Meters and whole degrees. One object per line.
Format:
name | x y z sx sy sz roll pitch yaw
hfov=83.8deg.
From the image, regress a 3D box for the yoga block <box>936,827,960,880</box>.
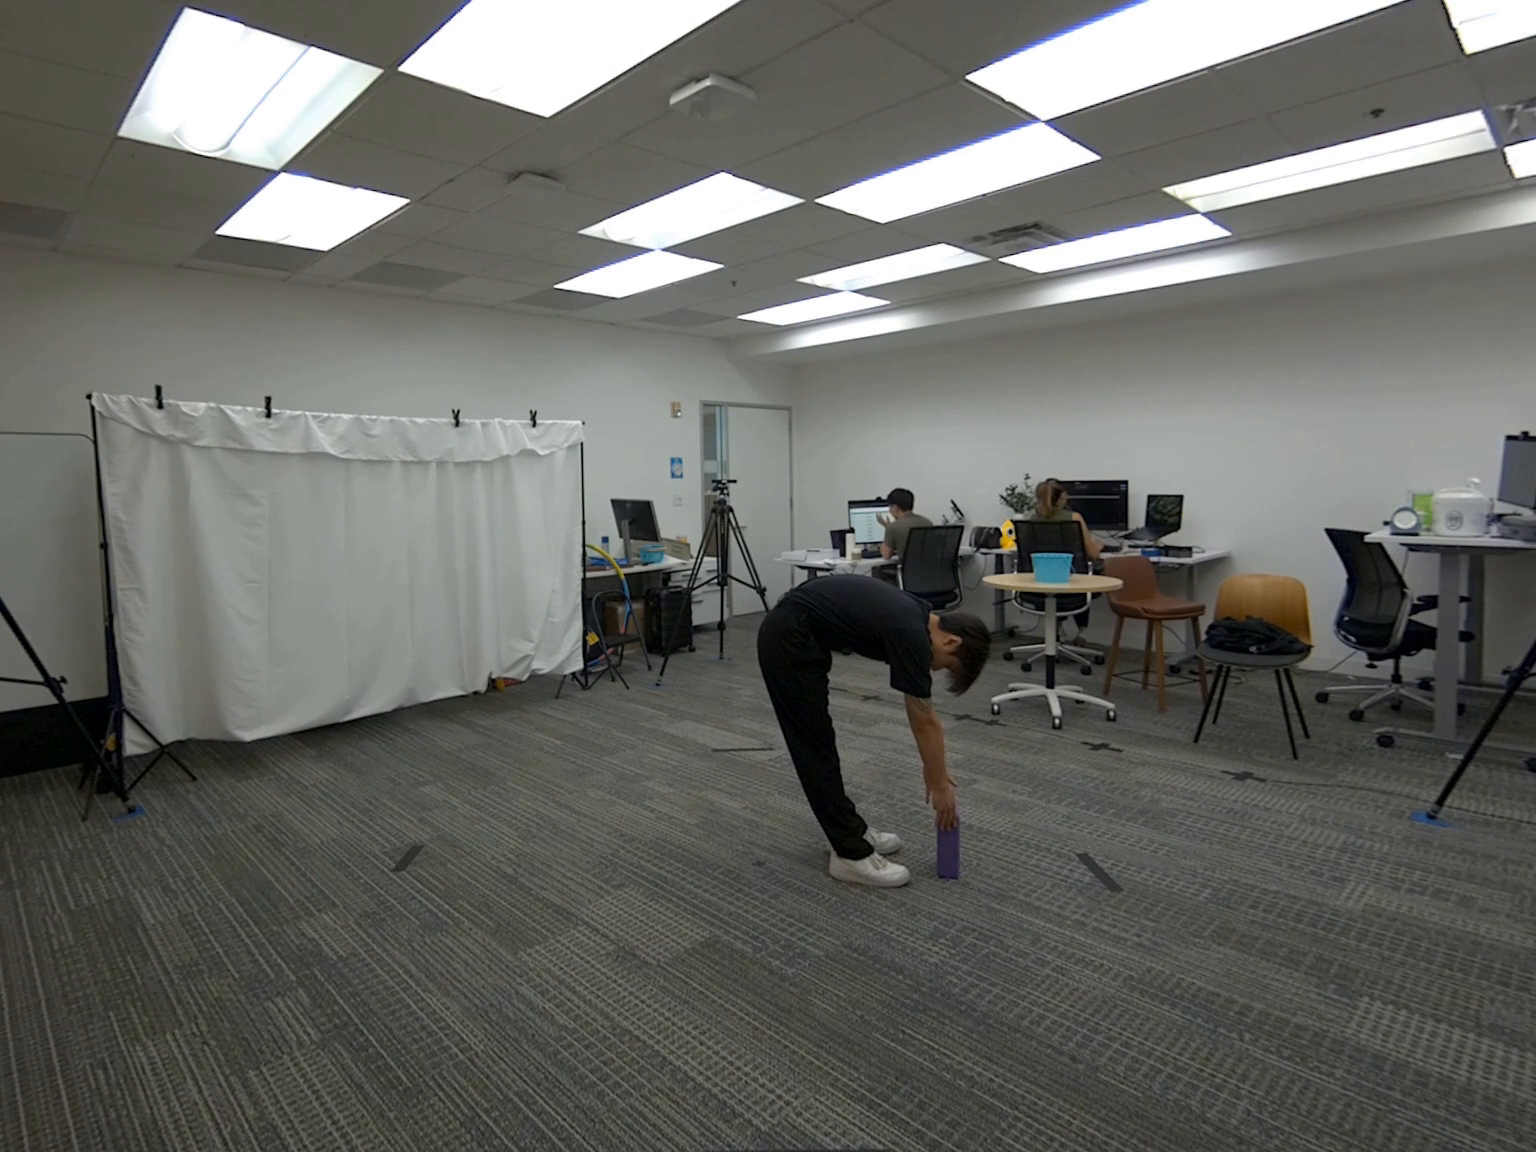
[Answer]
yoga block | 0.633 0.924 3.022 0.077 0.228 0.148 1 6 9
